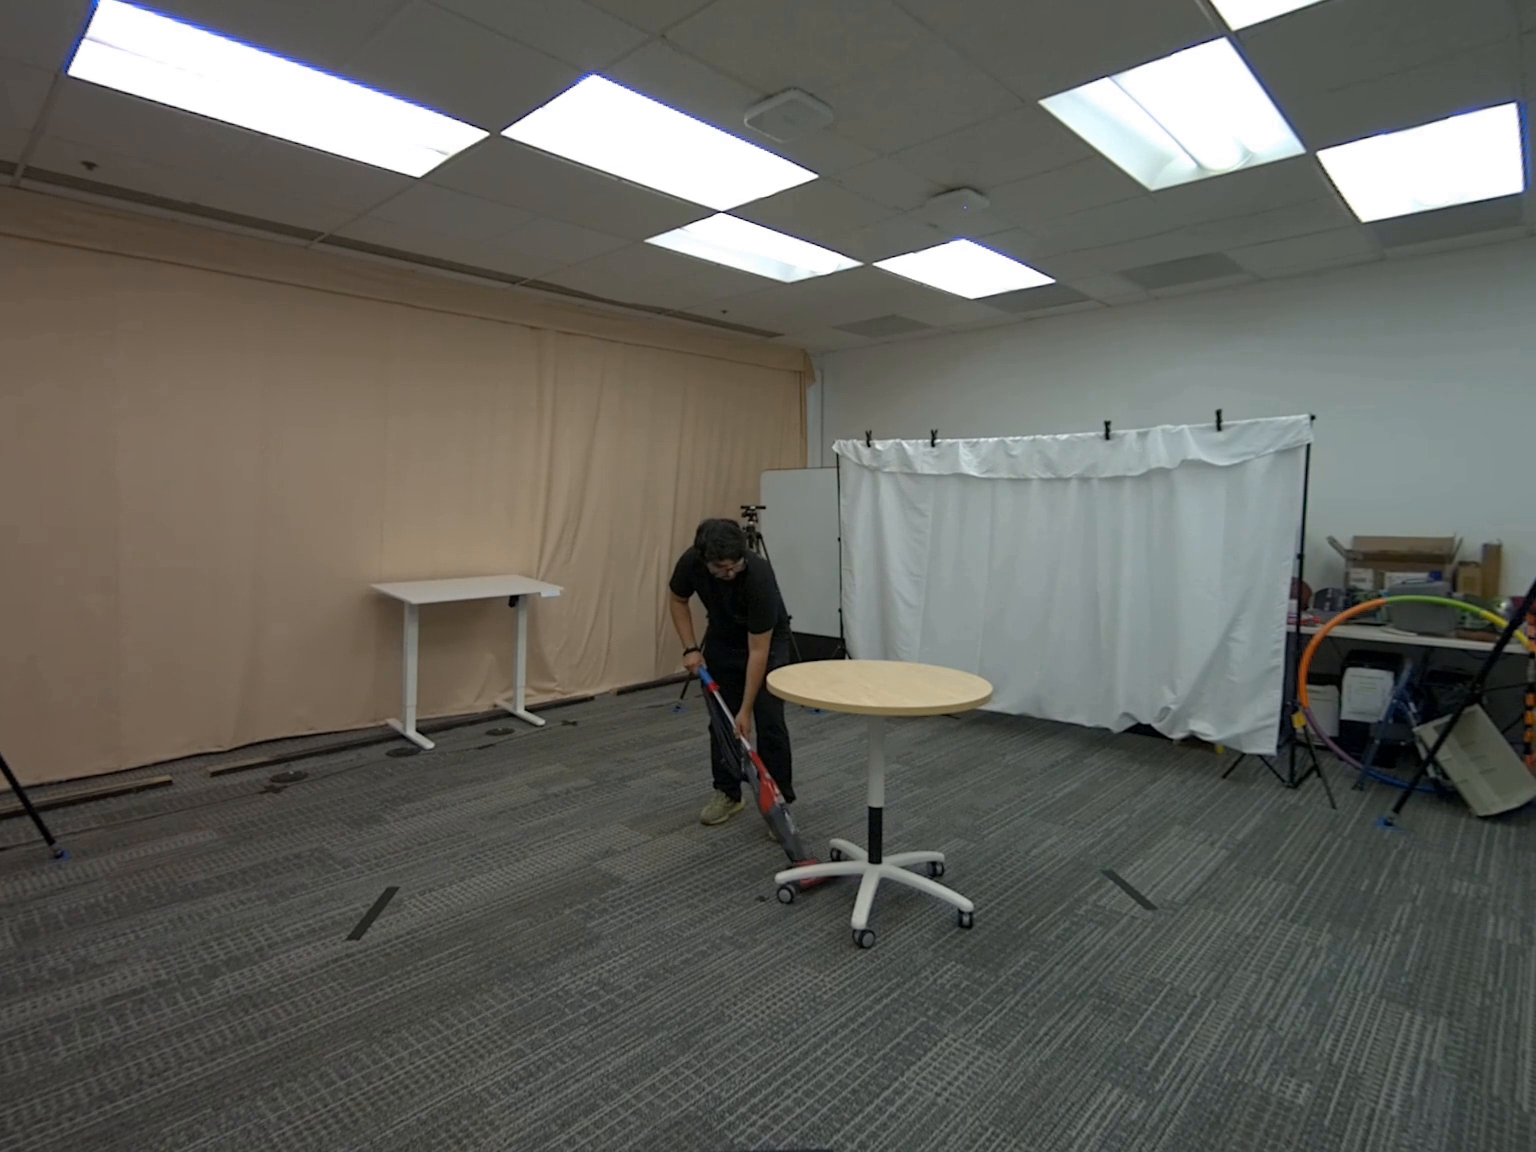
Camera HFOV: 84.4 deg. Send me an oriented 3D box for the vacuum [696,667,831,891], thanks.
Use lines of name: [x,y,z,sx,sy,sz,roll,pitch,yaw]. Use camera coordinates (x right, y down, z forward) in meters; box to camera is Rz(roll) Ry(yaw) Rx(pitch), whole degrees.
vacuum: [-0.088,0.723,3.421,0.245,0.143,1.082,-8,48,-36]
